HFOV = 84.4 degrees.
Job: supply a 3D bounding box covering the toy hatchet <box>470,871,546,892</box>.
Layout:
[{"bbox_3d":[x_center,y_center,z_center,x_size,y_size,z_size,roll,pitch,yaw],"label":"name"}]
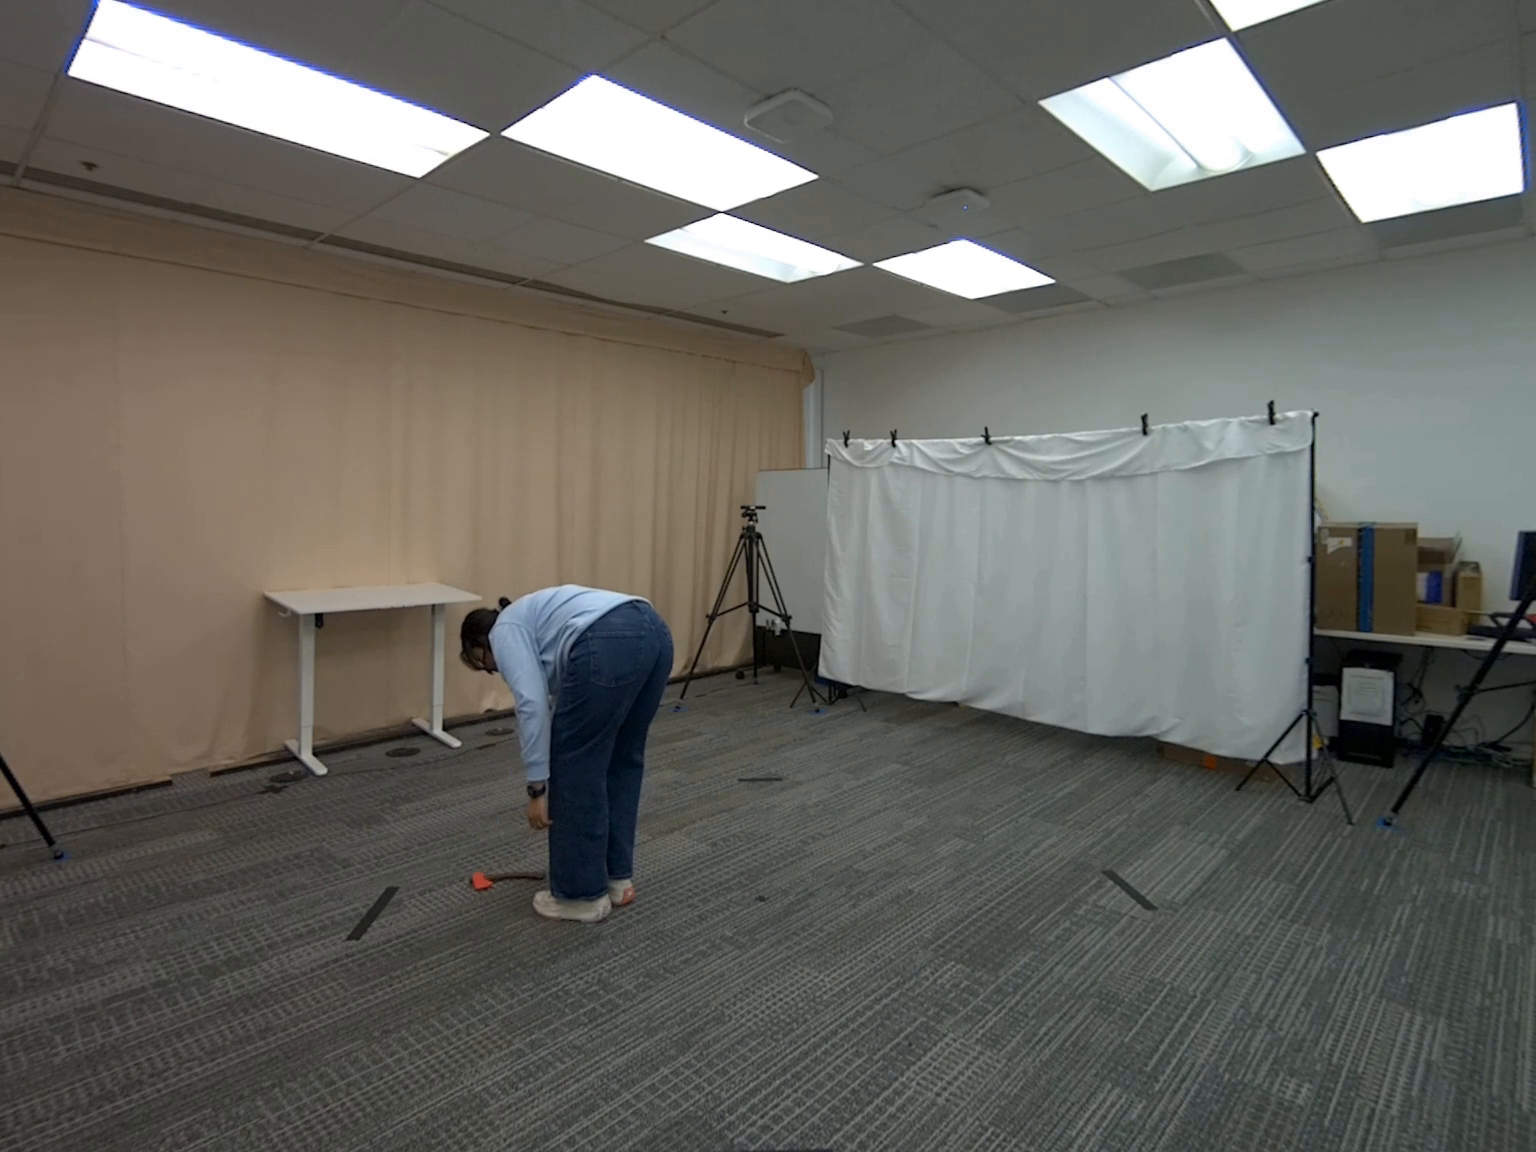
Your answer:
[{"bbox_3d":[-0.969,1.126,3.117,0.270,0.029,0.131,0,4,1],"label":"toy hatchet"}]
